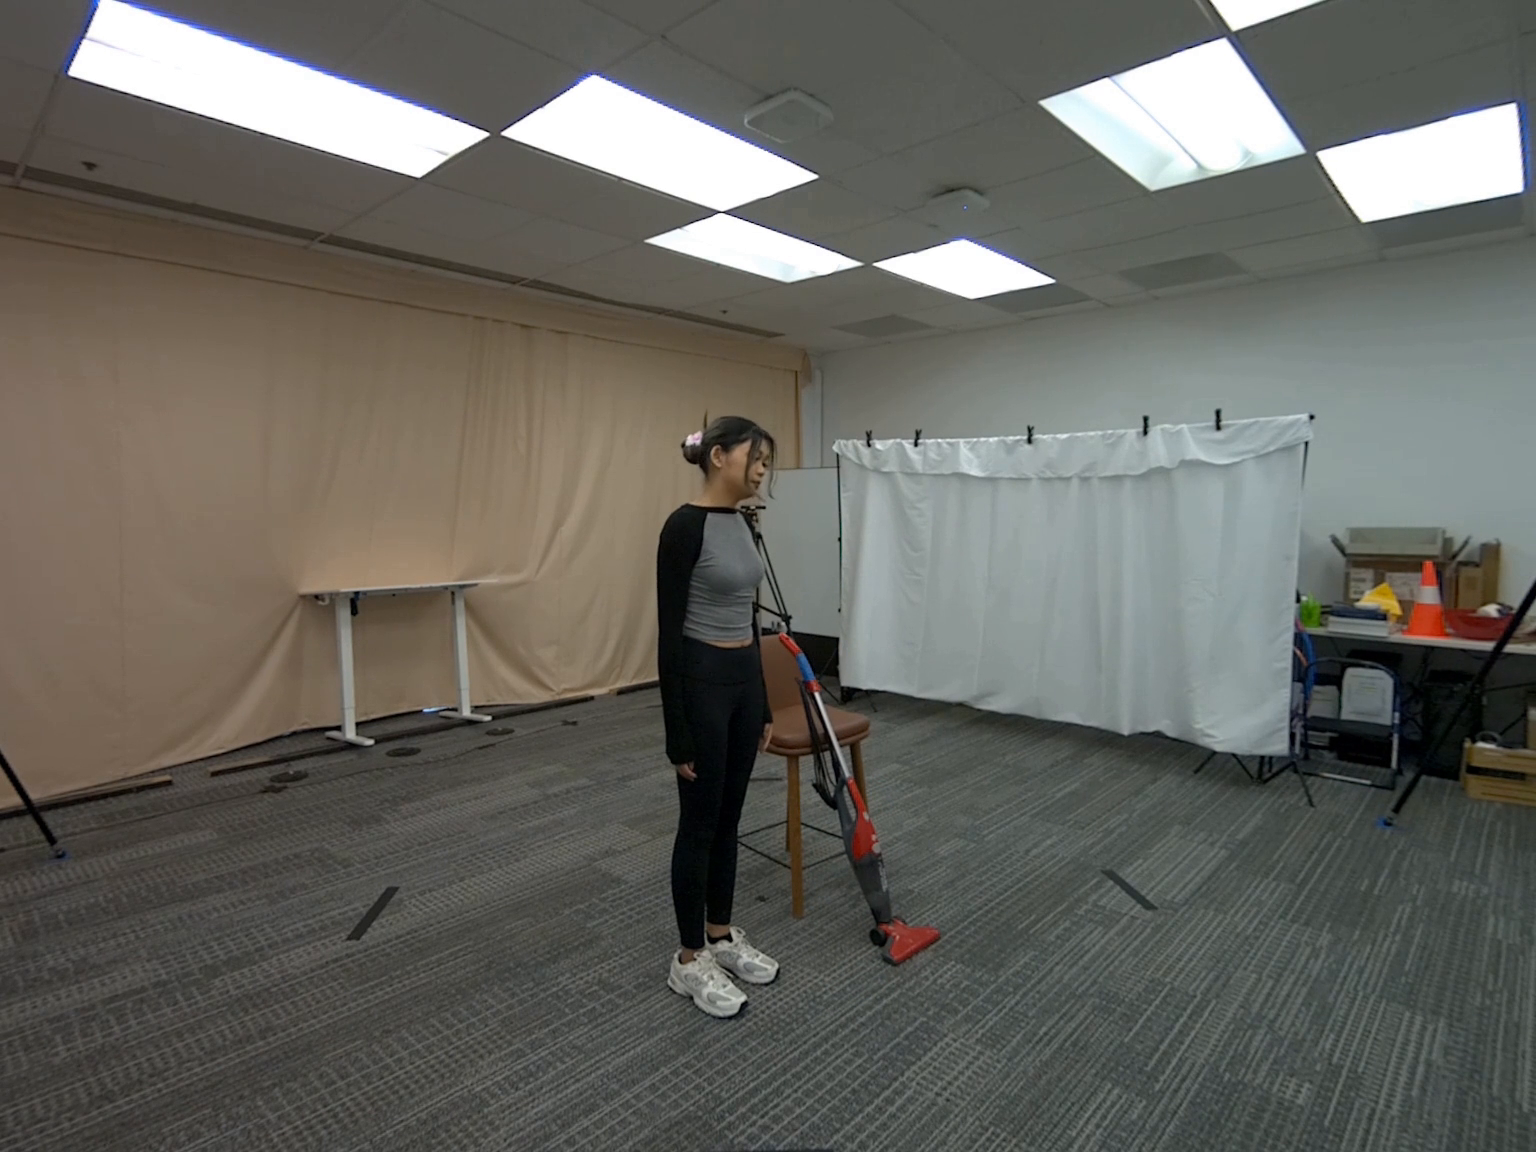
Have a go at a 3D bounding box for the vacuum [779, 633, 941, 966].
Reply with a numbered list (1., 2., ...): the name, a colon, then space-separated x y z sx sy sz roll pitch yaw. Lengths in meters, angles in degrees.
1. vacuum: 0.254 0.689 2.827 0.245 1.066 0.146 -3 -25 -47
